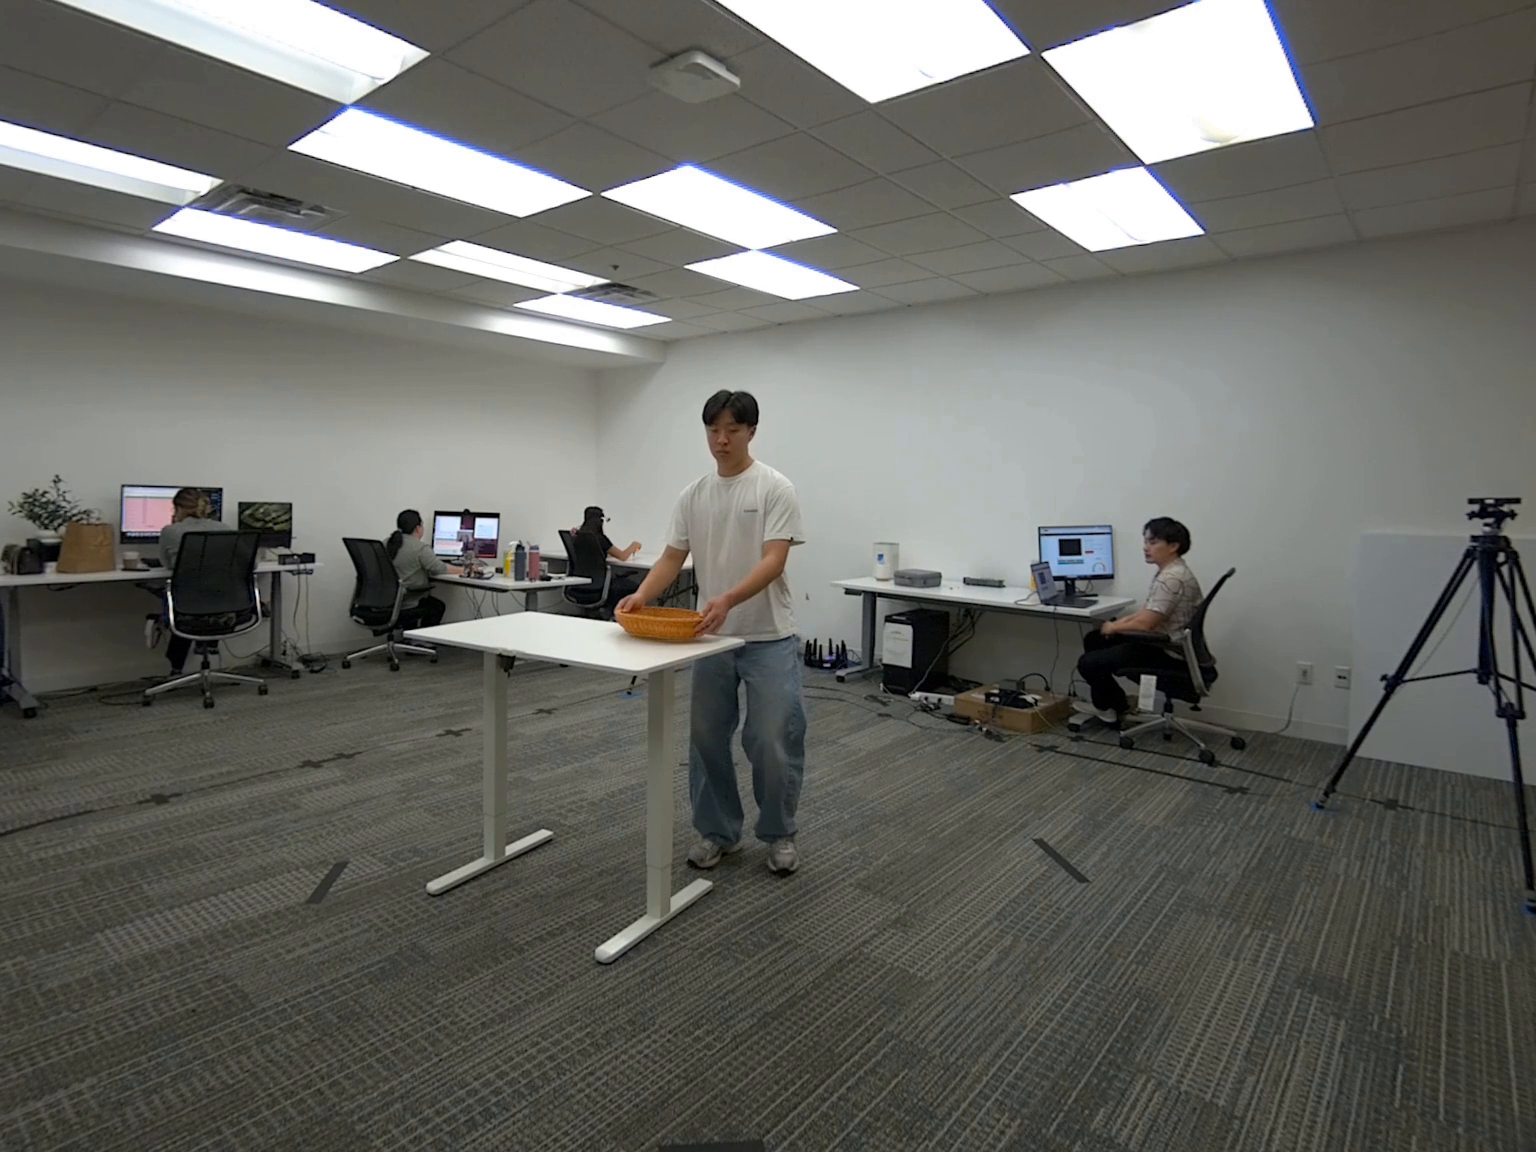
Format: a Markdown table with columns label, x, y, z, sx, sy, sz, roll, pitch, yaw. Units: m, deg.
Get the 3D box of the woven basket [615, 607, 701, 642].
| label | x | y | z | sx | sy | sz | roll | pitch | yaw |
| --- | --- | --- | --- | --- | --- | --- | --- | --- | --- |
| woven basket | -0.365 | 0.156 | 2.881 | 0.362 | 0.073 | 0.245 | 6 | 7 | 37 |
